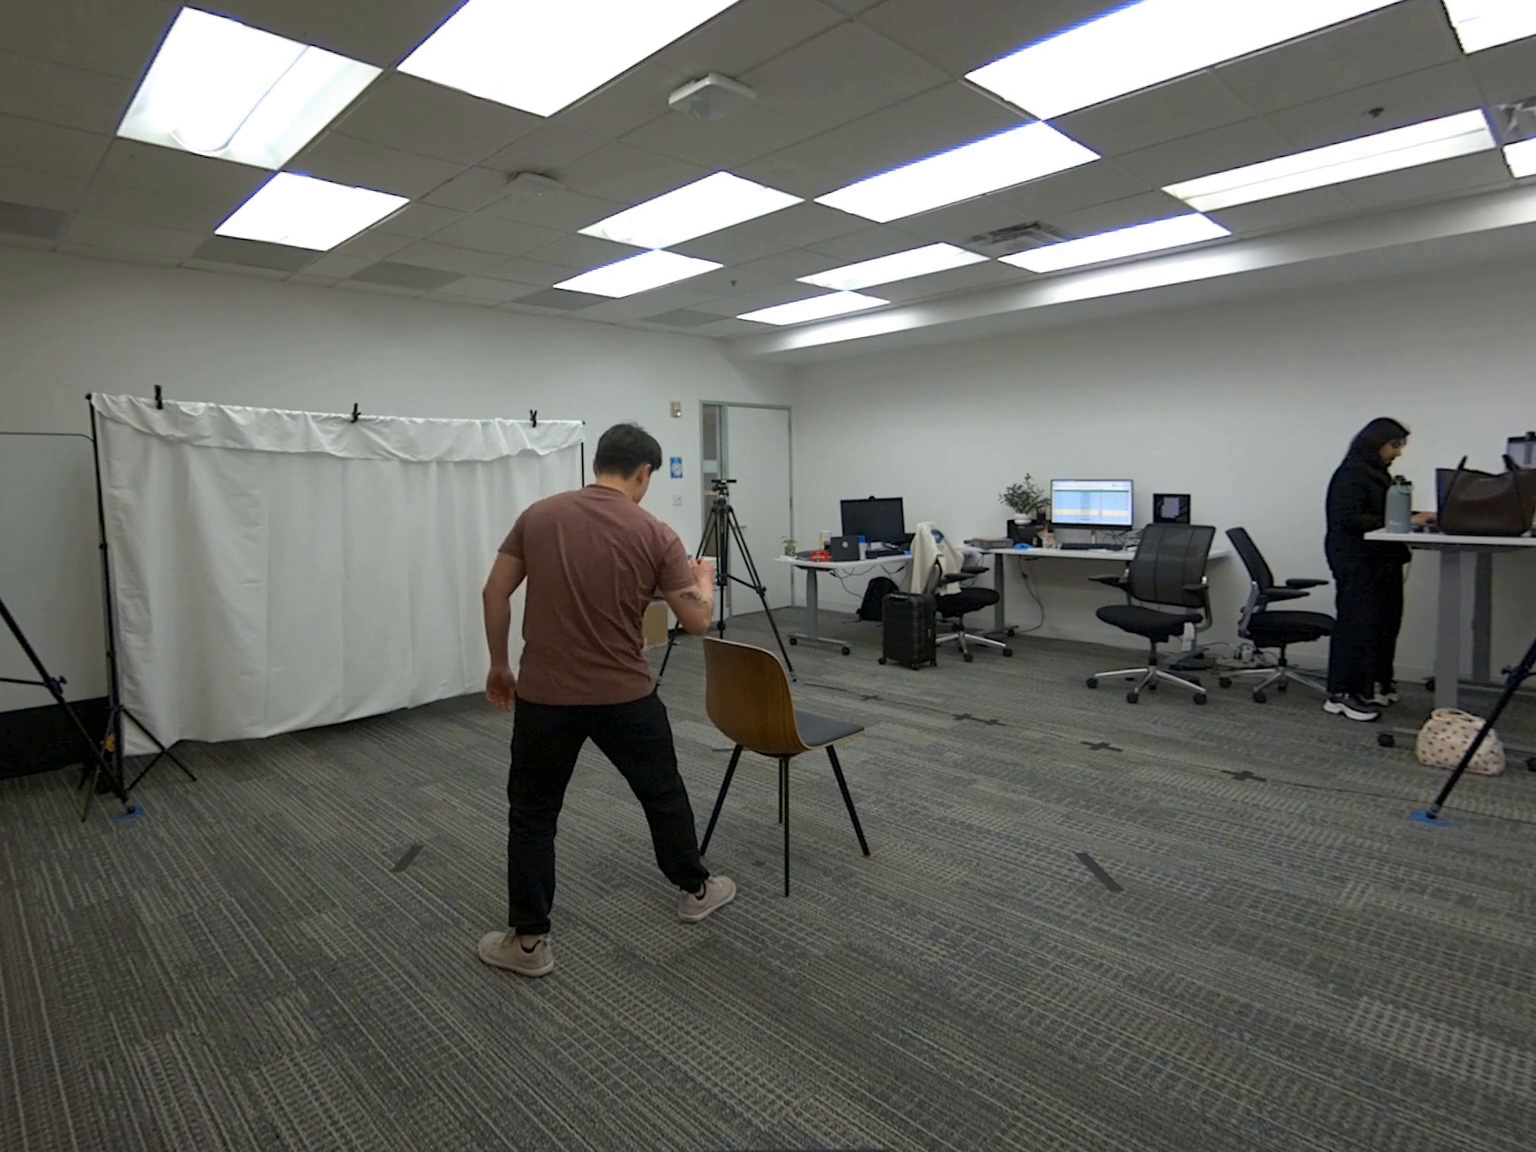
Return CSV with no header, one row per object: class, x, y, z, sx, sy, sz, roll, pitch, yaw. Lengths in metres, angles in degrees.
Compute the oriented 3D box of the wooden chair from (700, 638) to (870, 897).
wooden chair,0.060,0.614,3.146,0.511,0.872,0.493,-11,10,-44
